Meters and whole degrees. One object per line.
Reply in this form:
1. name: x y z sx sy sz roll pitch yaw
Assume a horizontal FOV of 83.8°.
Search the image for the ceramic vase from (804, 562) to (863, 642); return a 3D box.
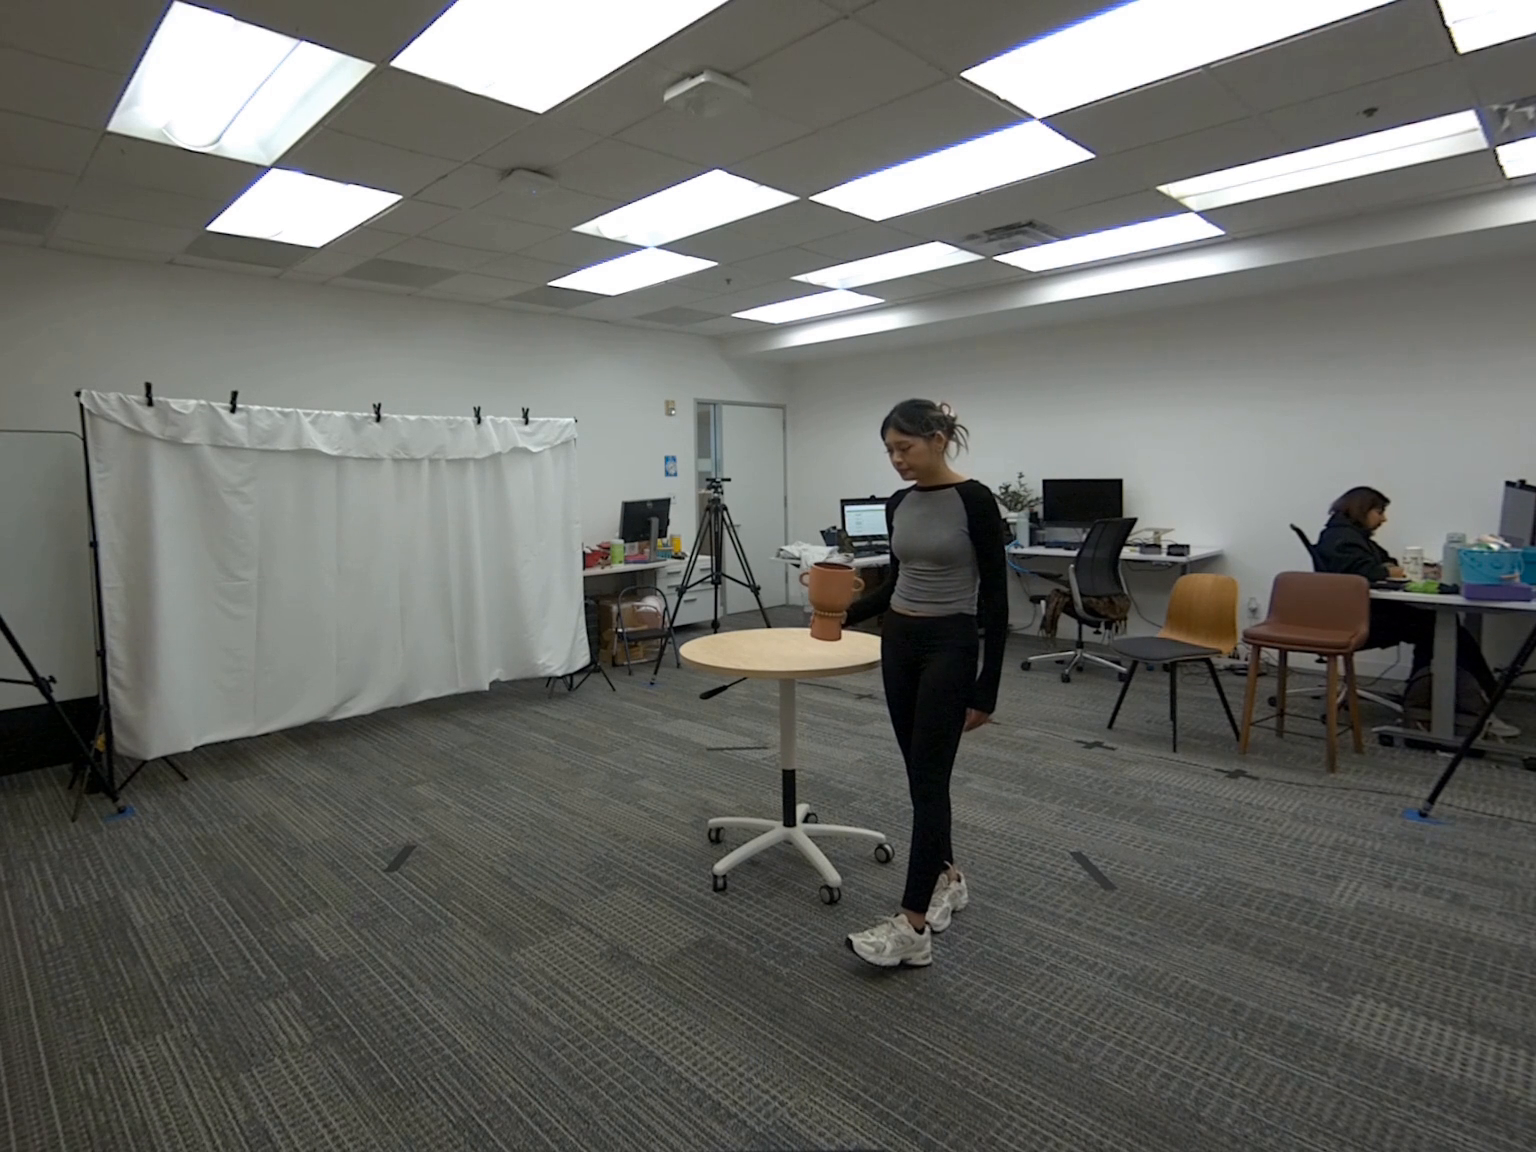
1. ceramic vase: 0.190 0.073 2.568 0.131 0.218 0.164 -3 12 -35
